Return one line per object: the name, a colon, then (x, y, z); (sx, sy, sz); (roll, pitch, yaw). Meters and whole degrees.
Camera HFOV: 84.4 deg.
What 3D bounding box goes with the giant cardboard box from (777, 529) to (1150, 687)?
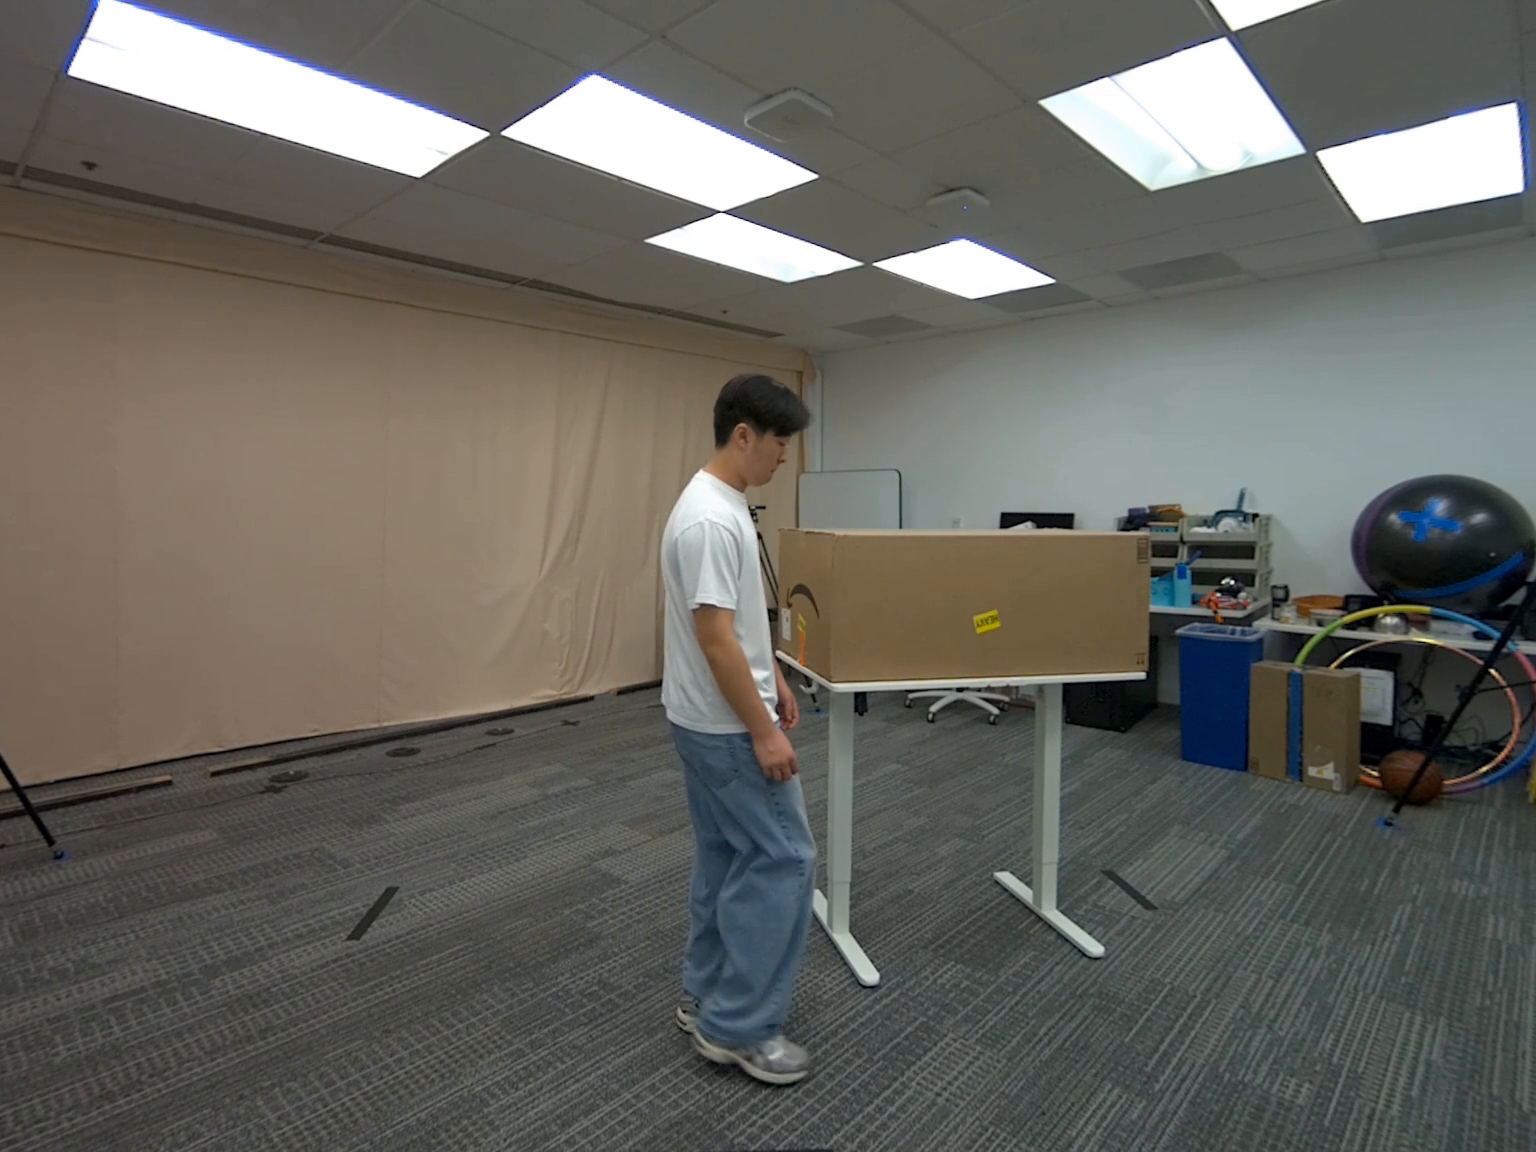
giant cardboard box: (0.604, 0.066, 2.755); (1.013, 0.425, 0.585); (0, 3, -12)
